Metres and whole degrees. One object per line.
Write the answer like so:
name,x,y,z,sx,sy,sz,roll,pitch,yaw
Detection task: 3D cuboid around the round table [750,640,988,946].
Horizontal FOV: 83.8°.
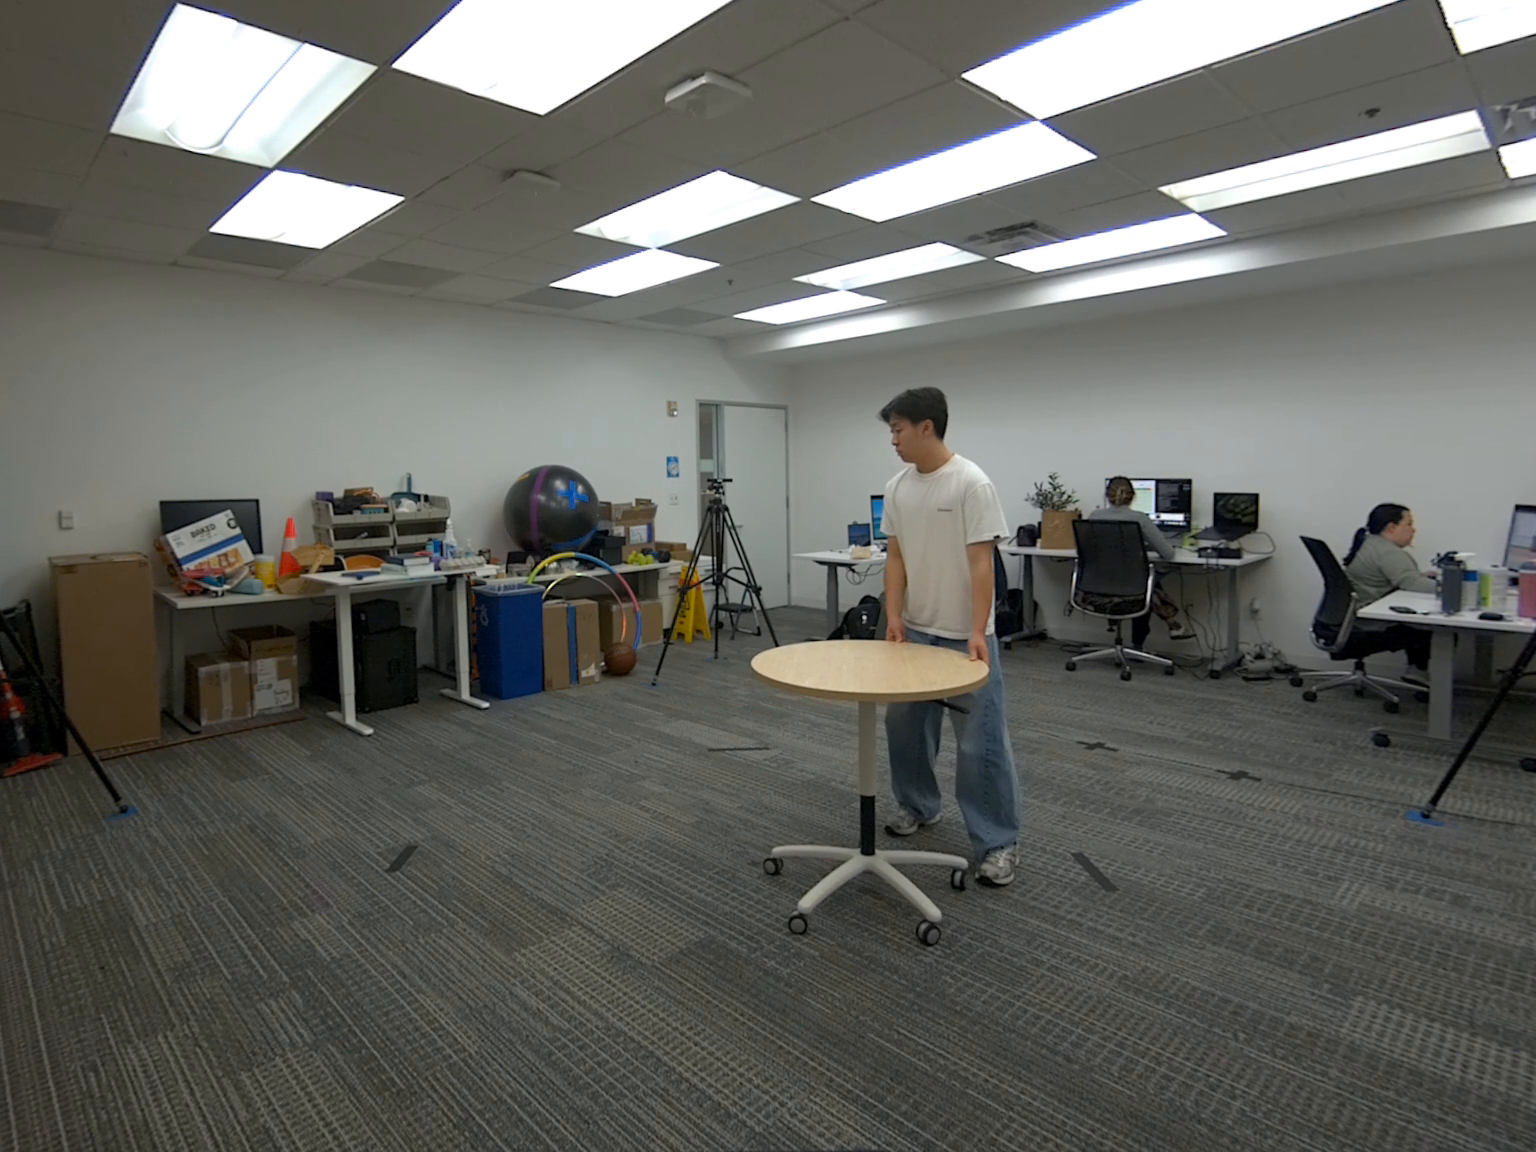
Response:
round table,0.326,0.679,2.838,0.763,0.791,0.768,-1,5,-2
